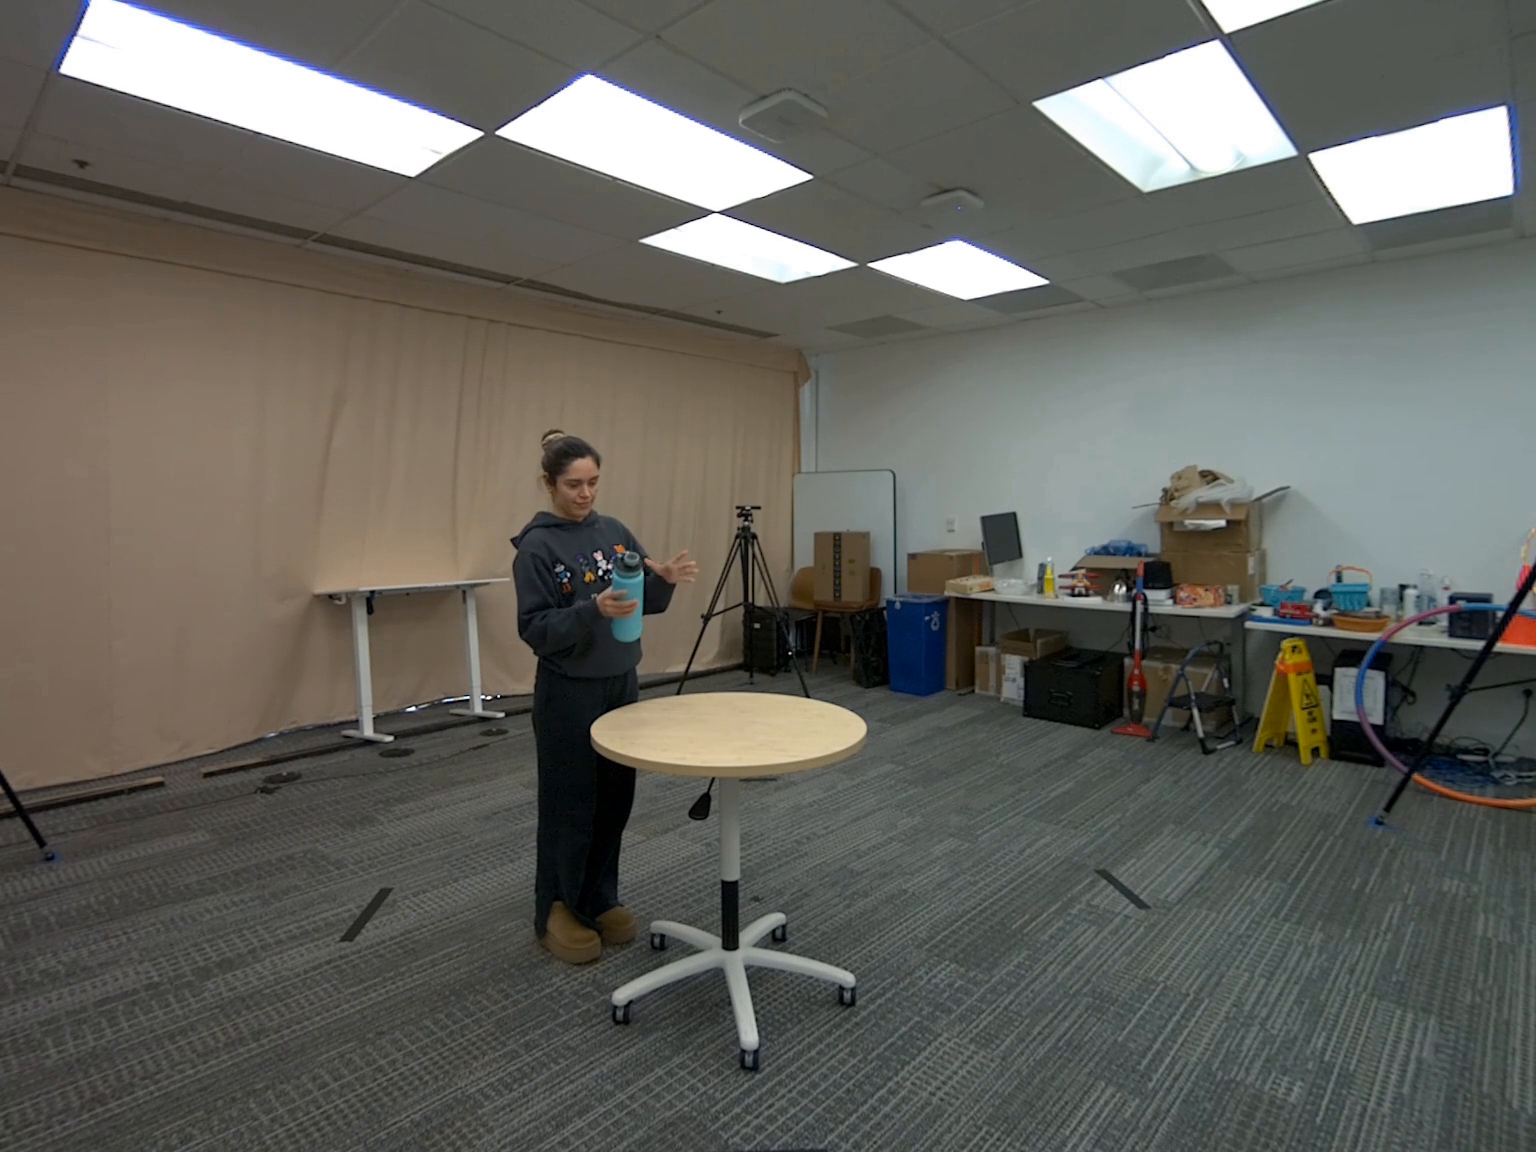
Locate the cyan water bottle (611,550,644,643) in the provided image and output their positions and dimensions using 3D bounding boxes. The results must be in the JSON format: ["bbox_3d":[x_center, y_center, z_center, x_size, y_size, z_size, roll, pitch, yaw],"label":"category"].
[{"bbox_3d":[-0.401,0.045,2.418,0.092,0.279,0.094,4,34,-4],"label":"cyan water bottle"}]
